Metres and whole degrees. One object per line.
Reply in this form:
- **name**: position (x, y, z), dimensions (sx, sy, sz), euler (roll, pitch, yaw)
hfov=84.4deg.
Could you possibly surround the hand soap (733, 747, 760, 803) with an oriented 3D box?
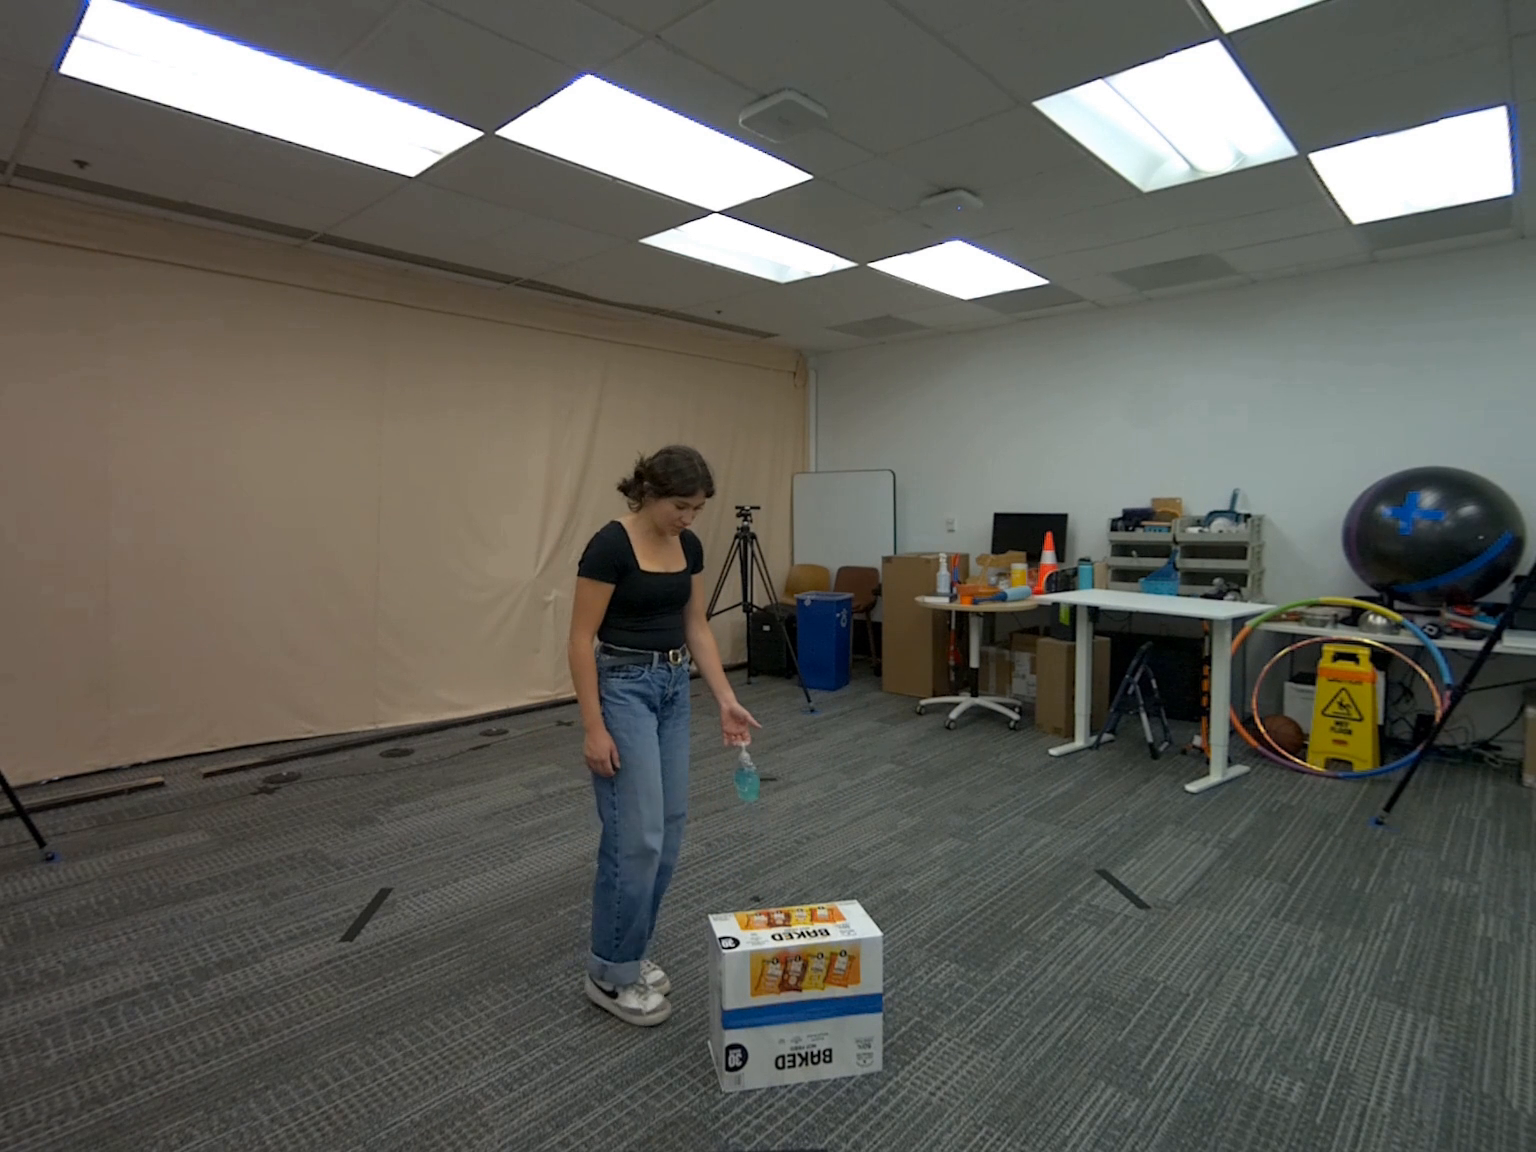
- **hand soap**: position (-0.061, 0.561, 2.407), dimensions (0.087, 0.167, 0.042), euler (0, 8, 34)
